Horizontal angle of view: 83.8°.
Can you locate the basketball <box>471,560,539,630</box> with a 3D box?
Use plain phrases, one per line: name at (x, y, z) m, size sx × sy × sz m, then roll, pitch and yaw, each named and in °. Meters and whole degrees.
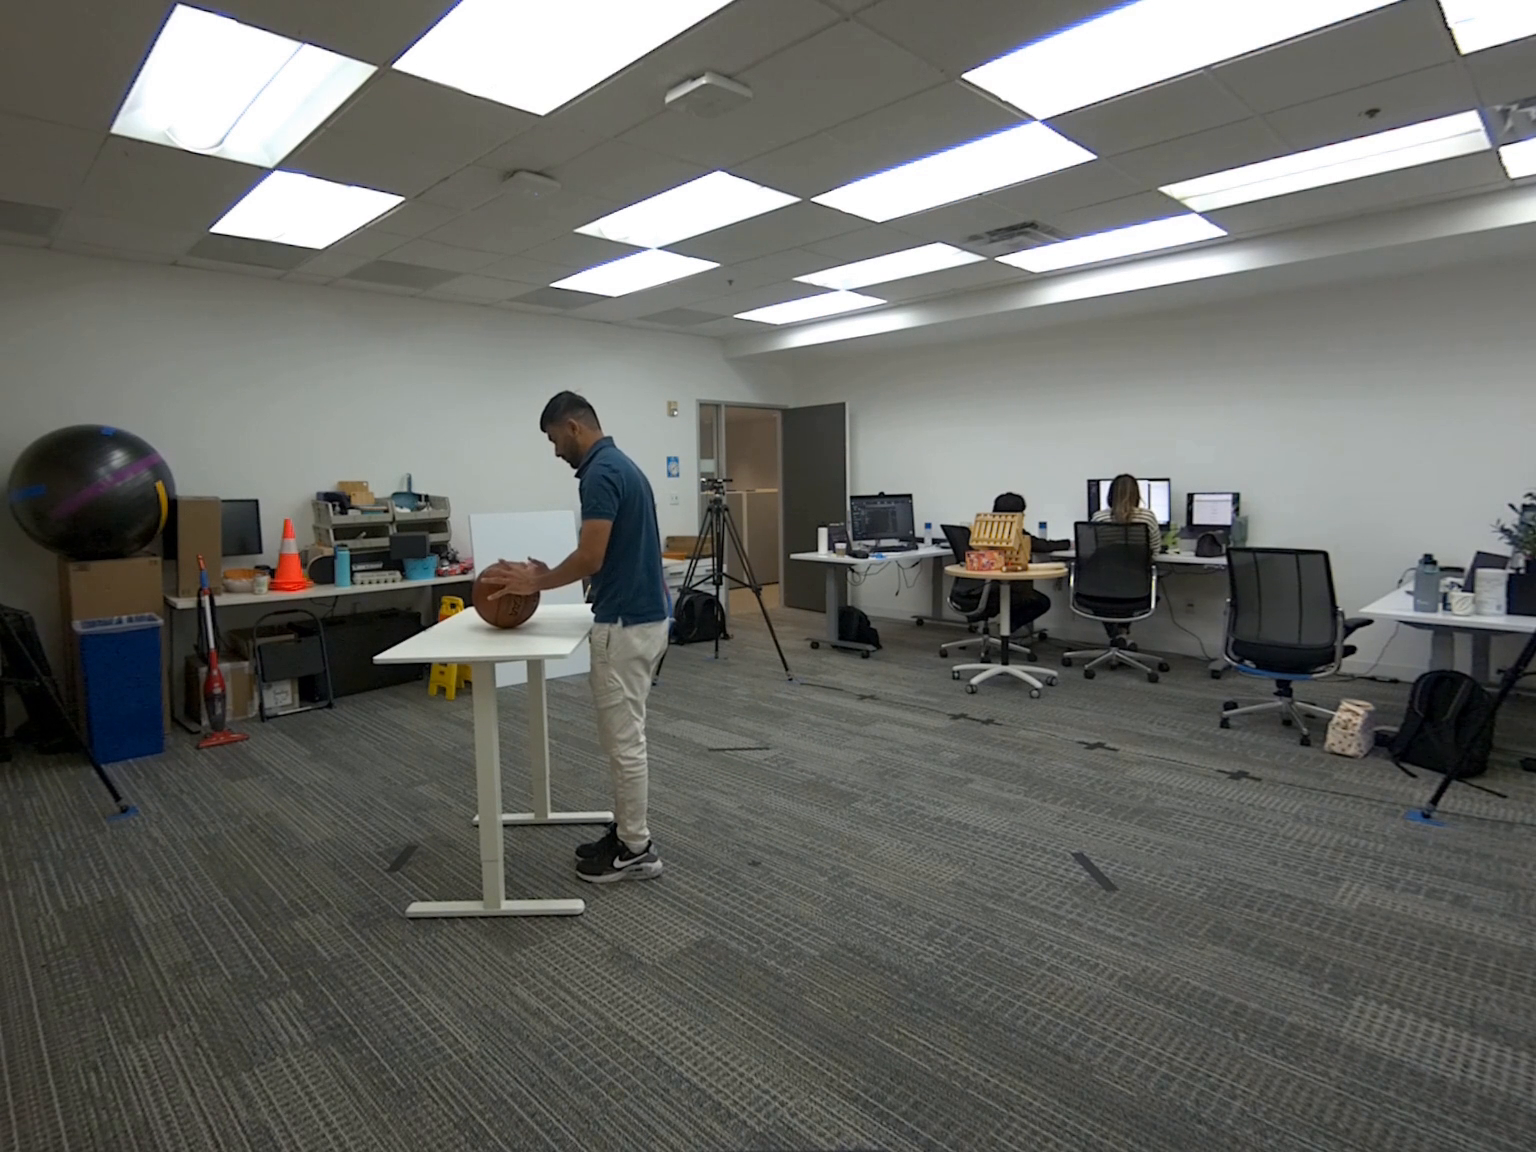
basketball at (-0.938, 0.066, 3.062) m, size 0.236 × 0.235 × 0.237 m, roll -1°, pitch 5°, yaw -2°
